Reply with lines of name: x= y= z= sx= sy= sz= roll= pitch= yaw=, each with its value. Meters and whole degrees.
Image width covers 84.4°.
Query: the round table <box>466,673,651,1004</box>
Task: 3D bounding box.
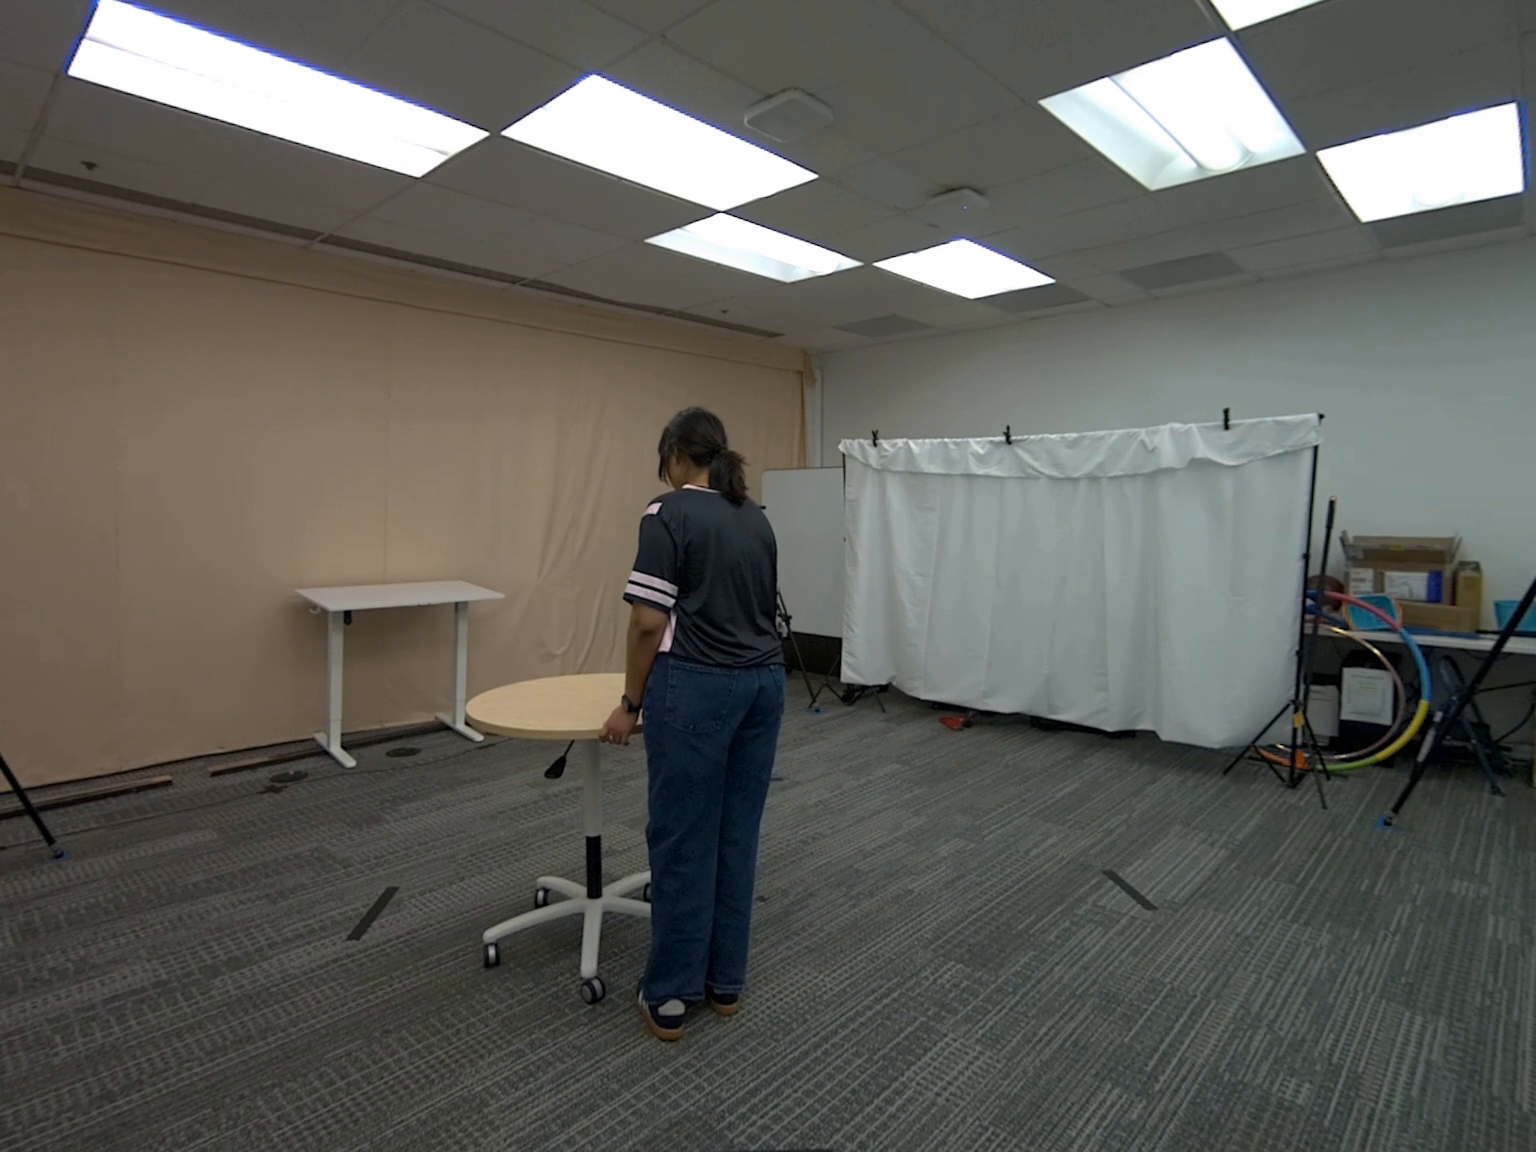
round table: x=-0.556 y=0.781 z=2.699 sx=0.763 sy=0.792 sz=0.766 roll=-1 pitch=4 yaw=-2
